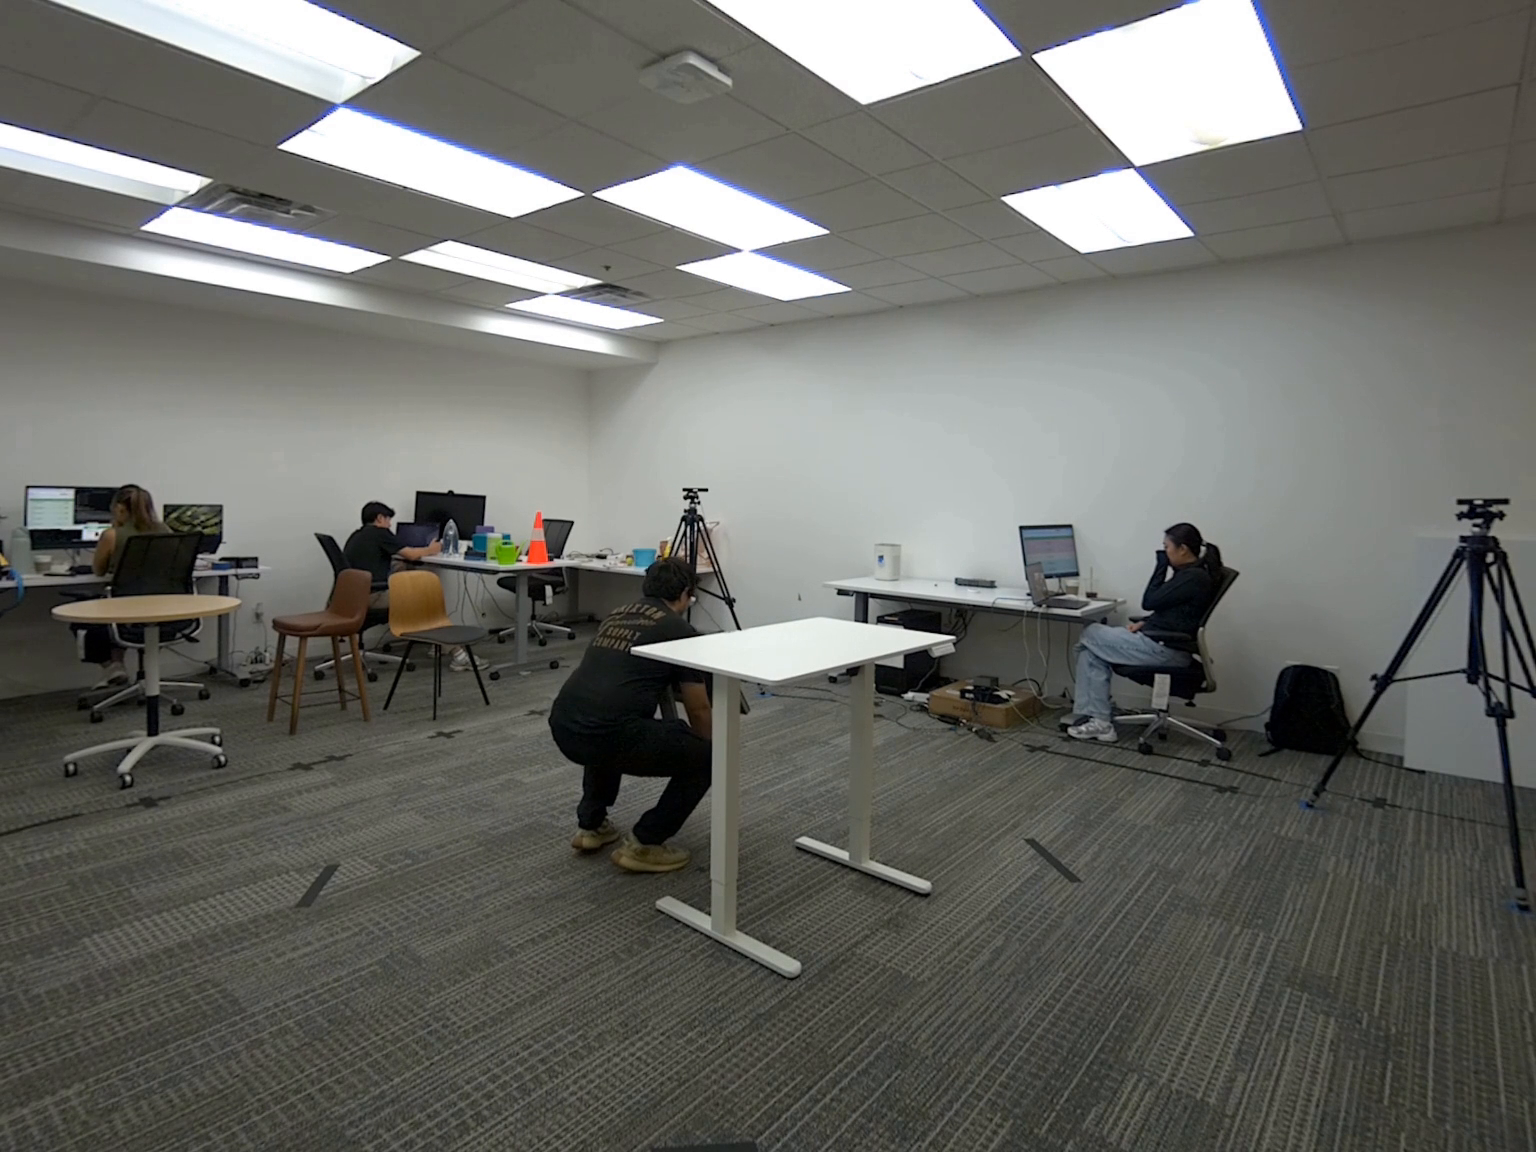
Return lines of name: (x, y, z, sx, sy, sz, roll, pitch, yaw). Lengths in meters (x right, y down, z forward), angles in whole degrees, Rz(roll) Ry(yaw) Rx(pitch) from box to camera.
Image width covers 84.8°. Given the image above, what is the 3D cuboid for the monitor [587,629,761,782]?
monitor: (-0.389, 0.498, 3.449, 0.583, 0.540, 0.209, 3, 29, 36)
